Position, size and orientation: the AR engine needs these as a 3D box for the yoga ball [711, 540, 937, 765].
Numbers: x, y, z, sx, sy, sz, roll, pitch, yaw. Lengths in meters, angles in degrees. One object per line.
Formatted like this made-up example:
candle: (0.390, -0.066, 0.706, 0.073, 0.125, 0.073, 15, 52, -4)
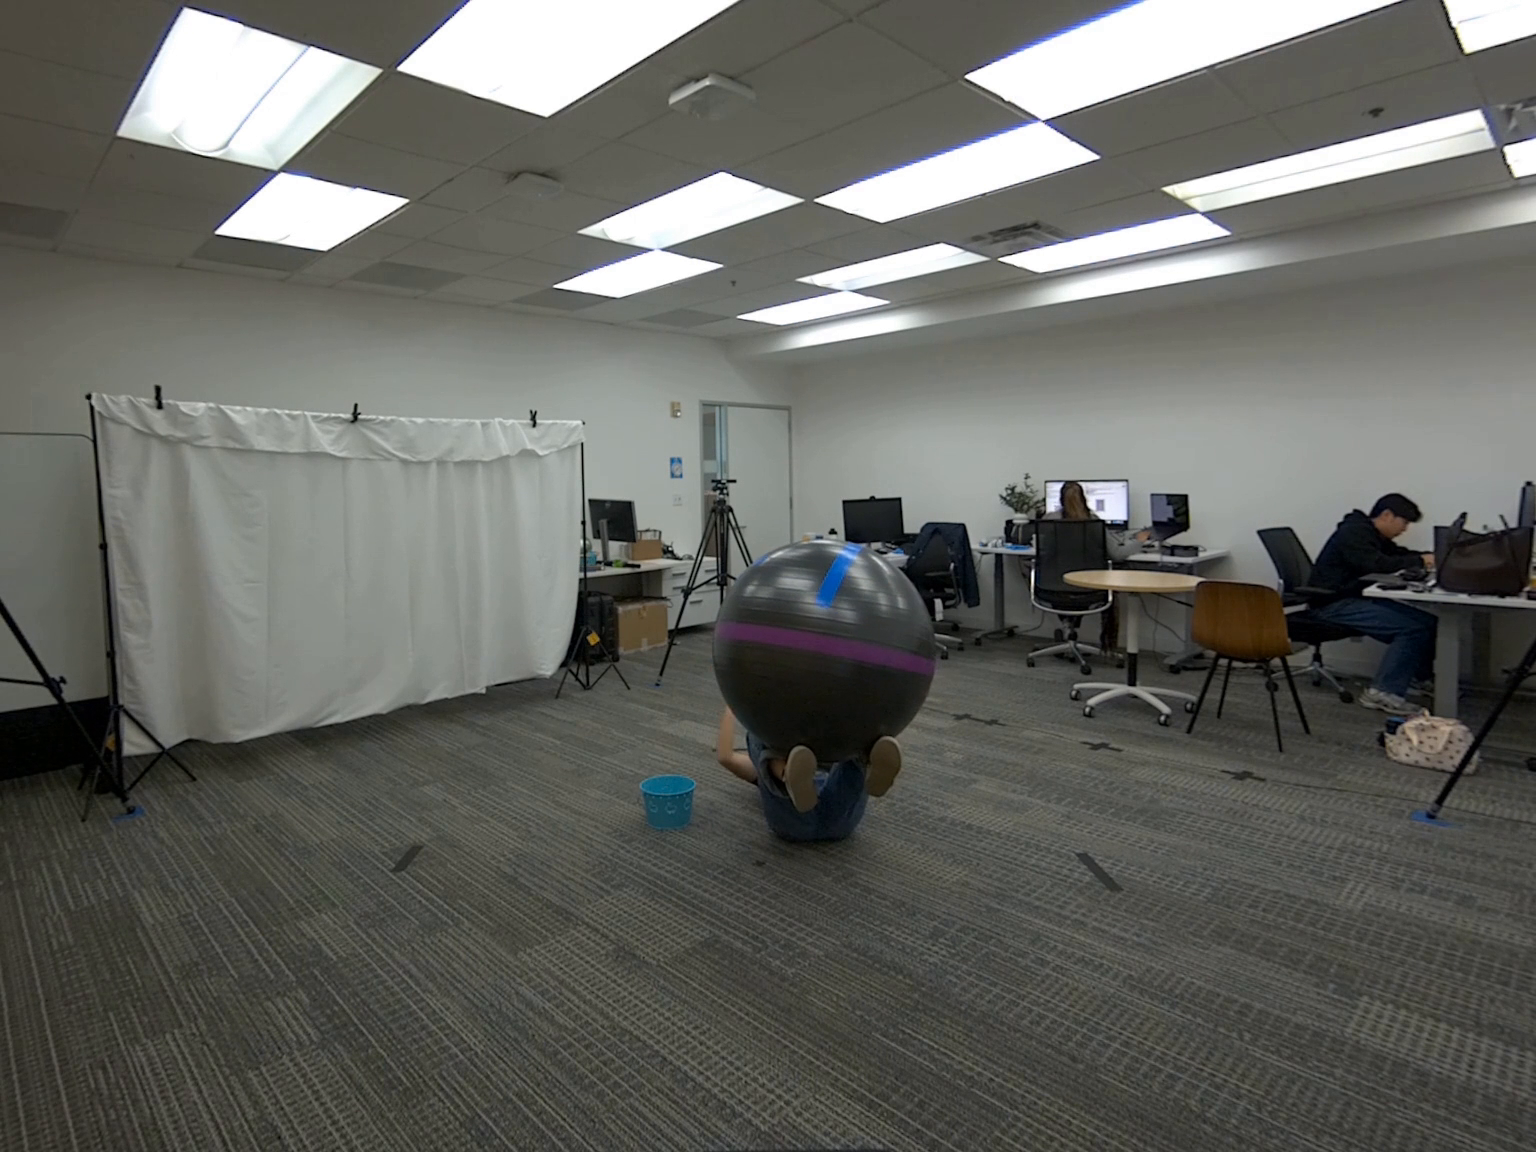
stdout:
yoga ball: (0.193, 0.256, 2.951, 0.757, 0.755, 0.762, -1, 5, -2)
